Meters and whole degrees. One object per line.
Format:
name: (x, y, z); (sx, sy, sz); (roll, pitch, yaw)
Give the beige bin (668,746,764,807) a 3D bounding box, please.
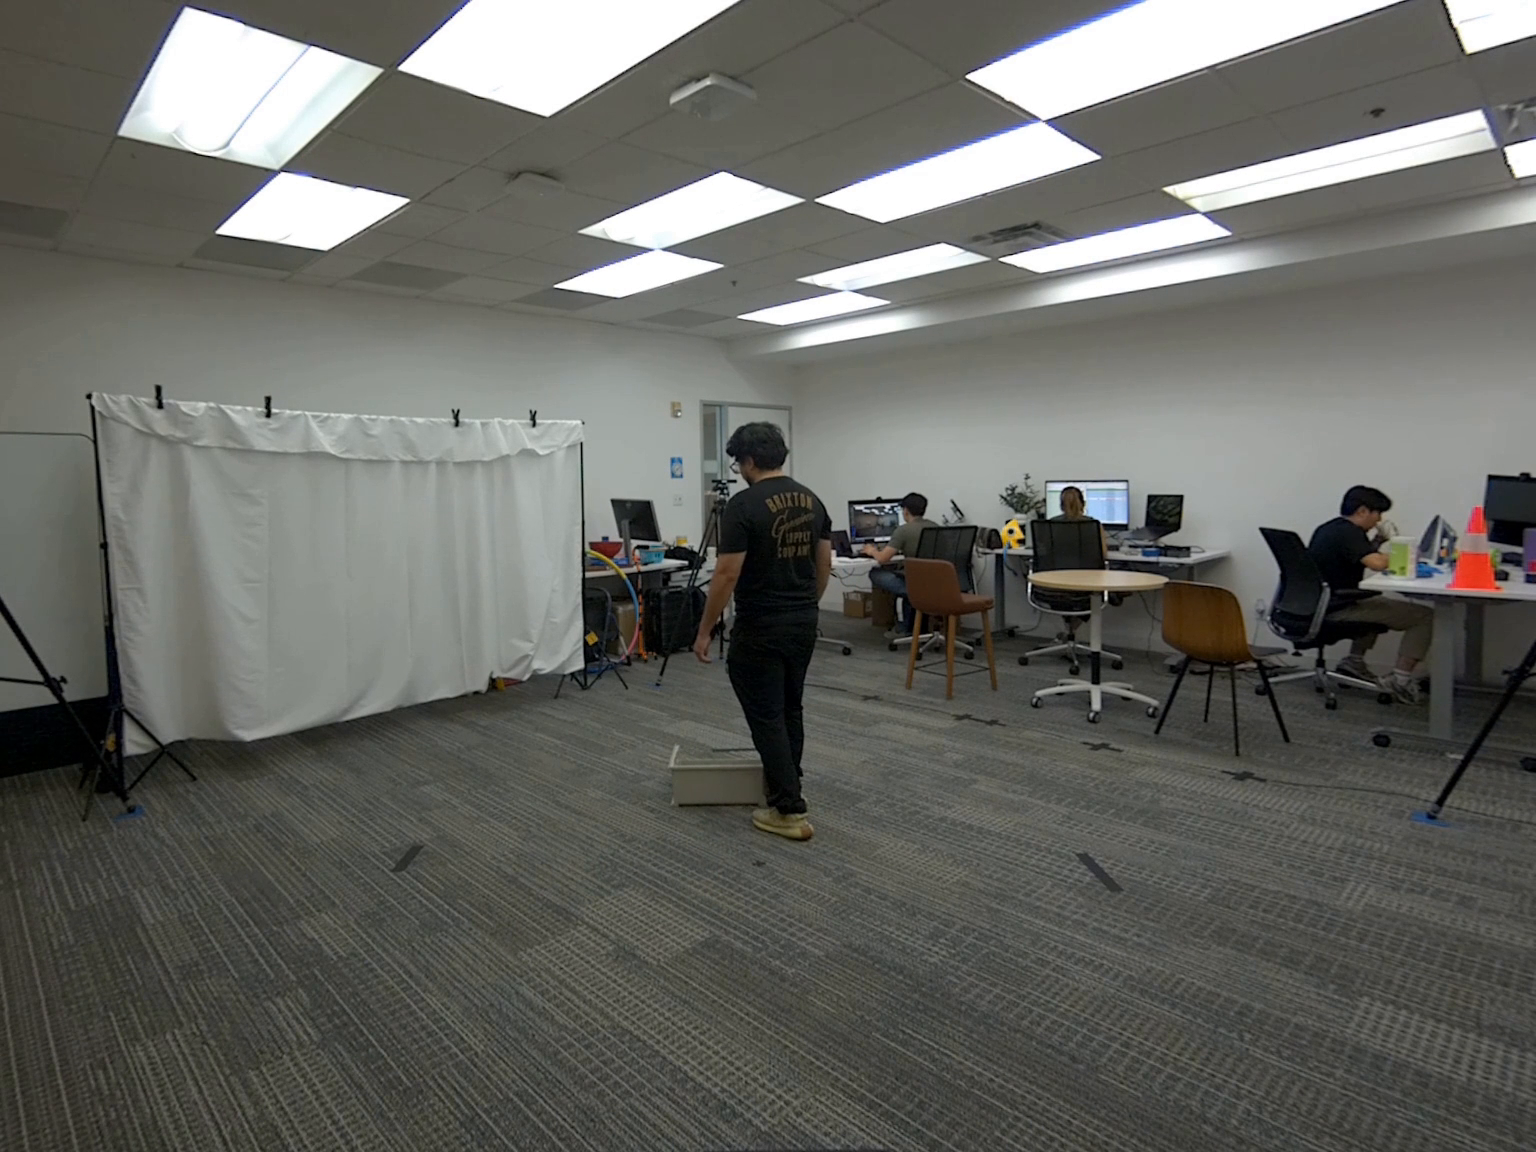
beige bin: (-0.216, 0.889, 3.853); (0.423, 0.188, 0.378); (0, 6, 1)
